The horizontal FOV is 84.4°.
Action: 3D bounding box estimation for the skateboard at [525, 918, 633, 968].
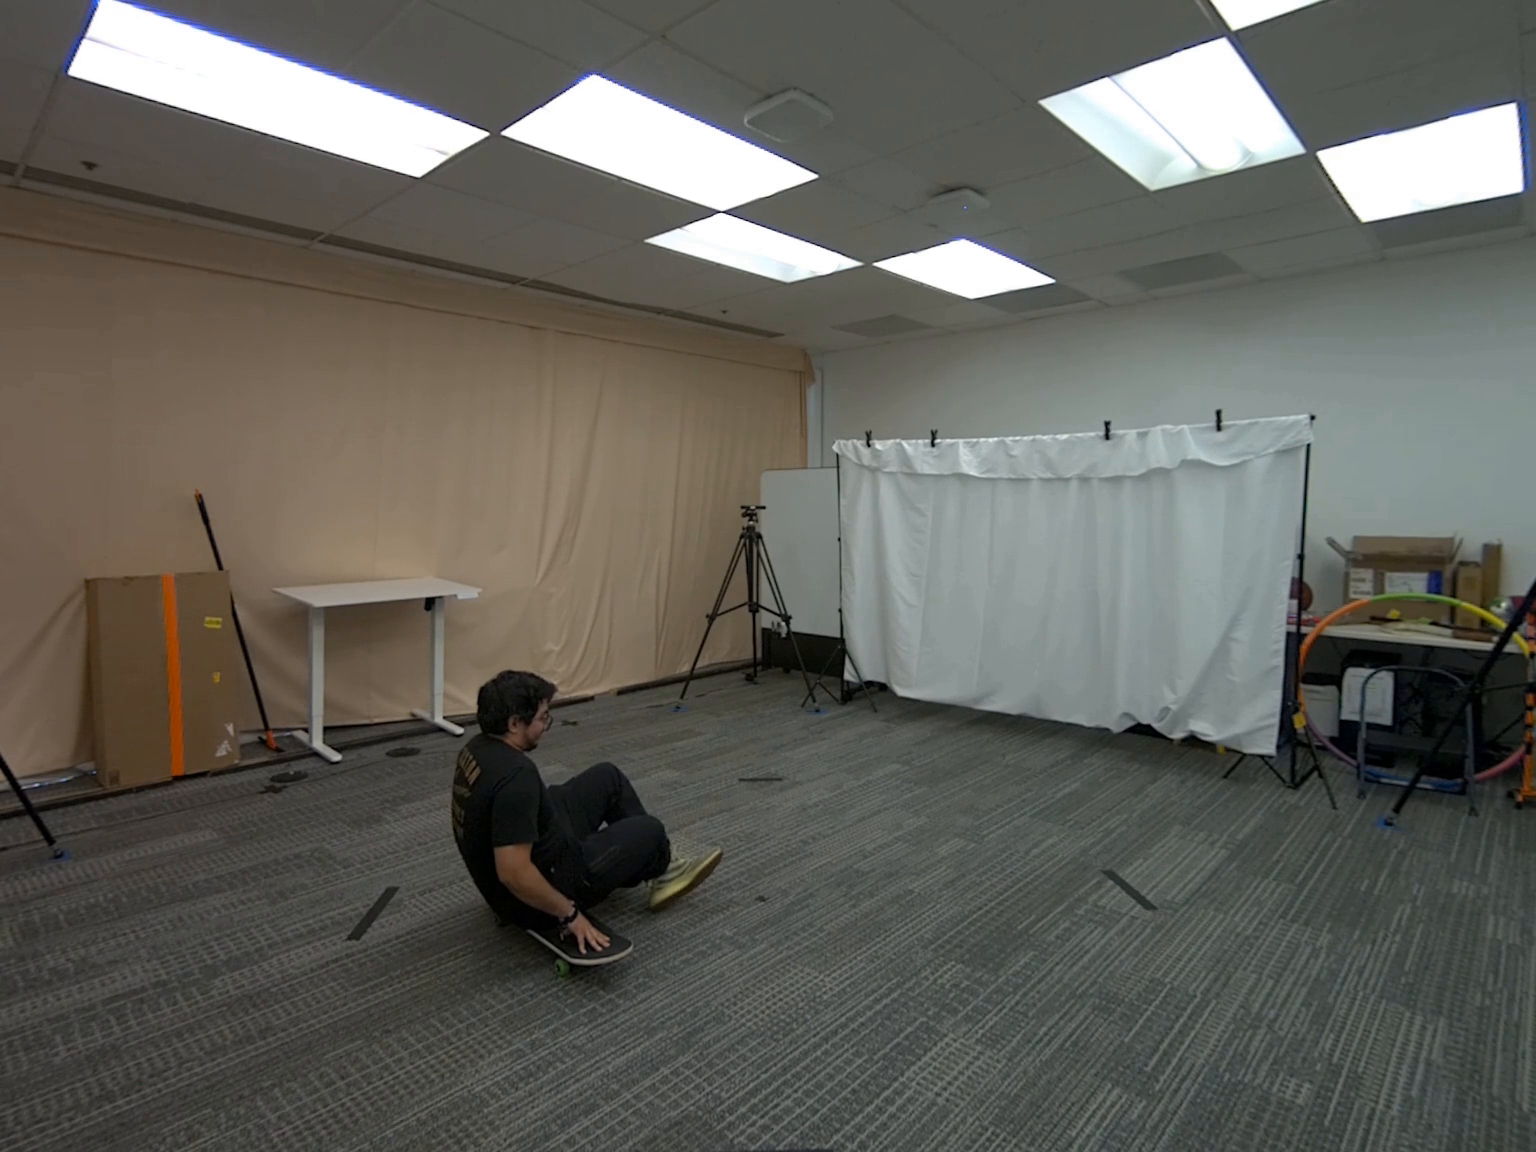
[{"bbox_3d":[-0.689,1.112,2.710,0.188,0.110,0.811,-5,6,-39],"label":"skateboard"}]
